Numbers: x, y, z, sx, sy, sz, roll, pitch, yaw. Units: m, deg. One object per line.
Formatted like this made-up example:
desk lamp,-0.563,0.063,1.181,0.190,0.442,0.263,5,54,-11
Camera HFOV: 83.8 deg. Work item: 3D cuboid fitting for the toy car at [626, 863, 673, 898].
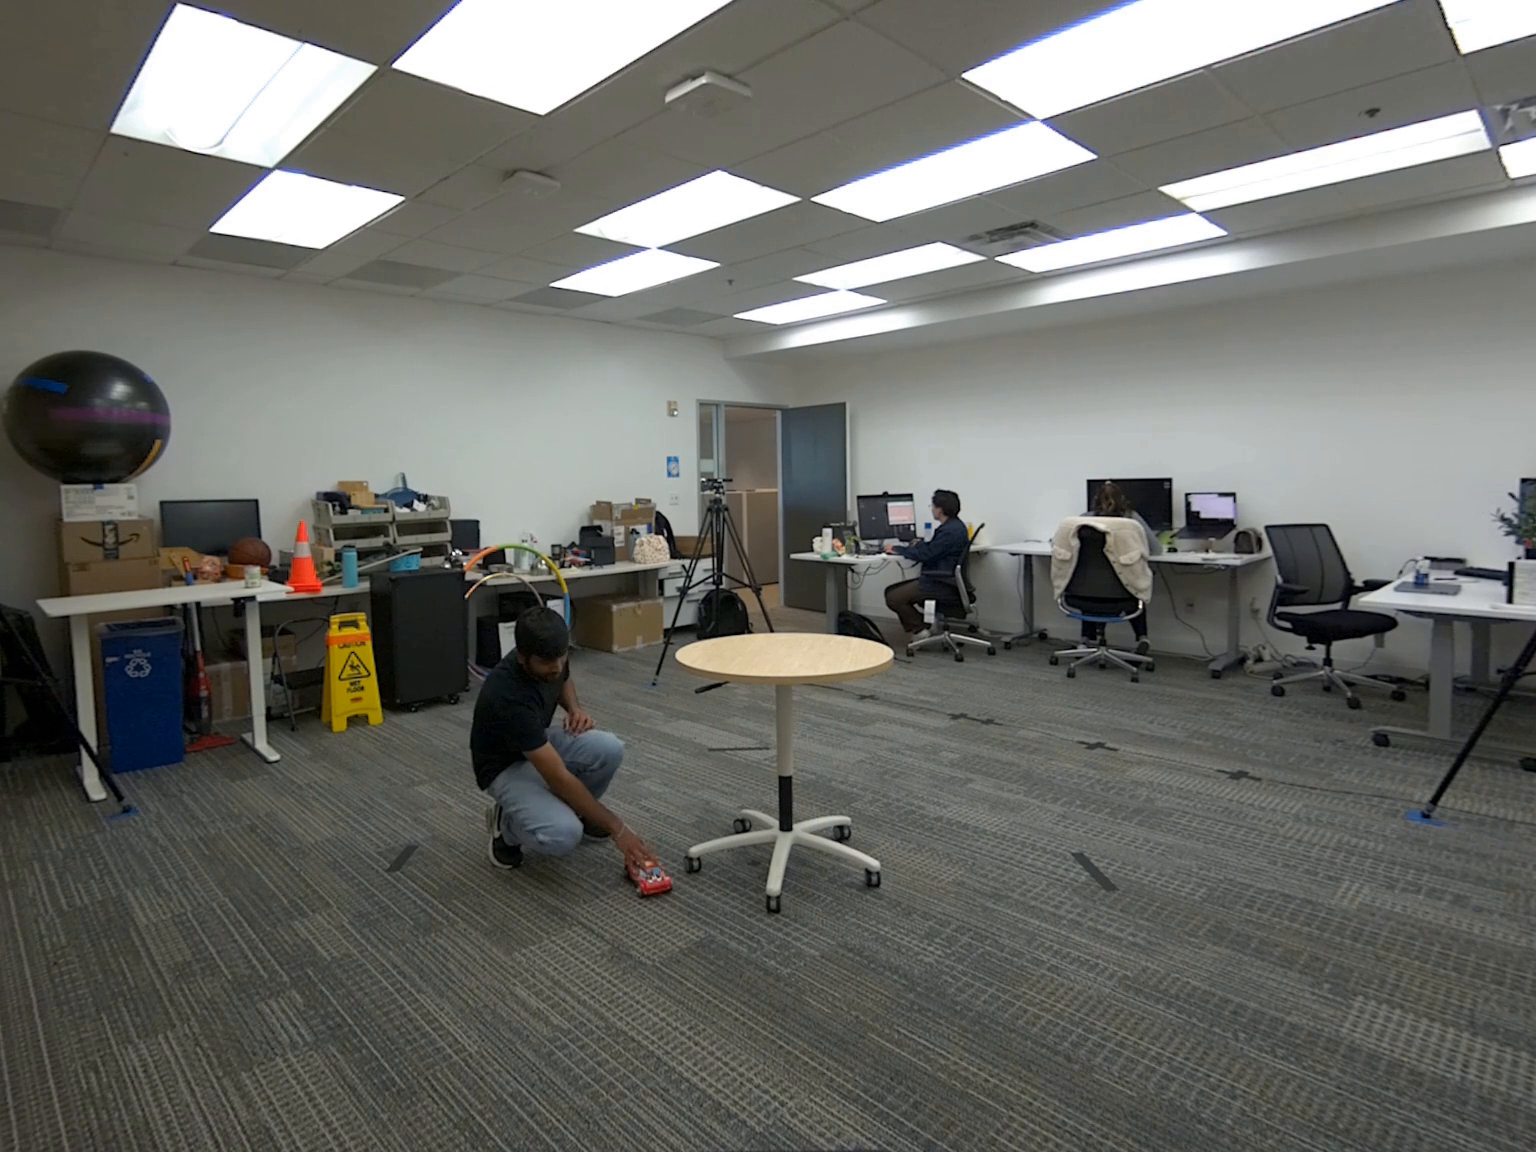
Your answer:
toy car,-0.419,1.033,2.966,0.127,0.082,0.263,-3,17,-26
